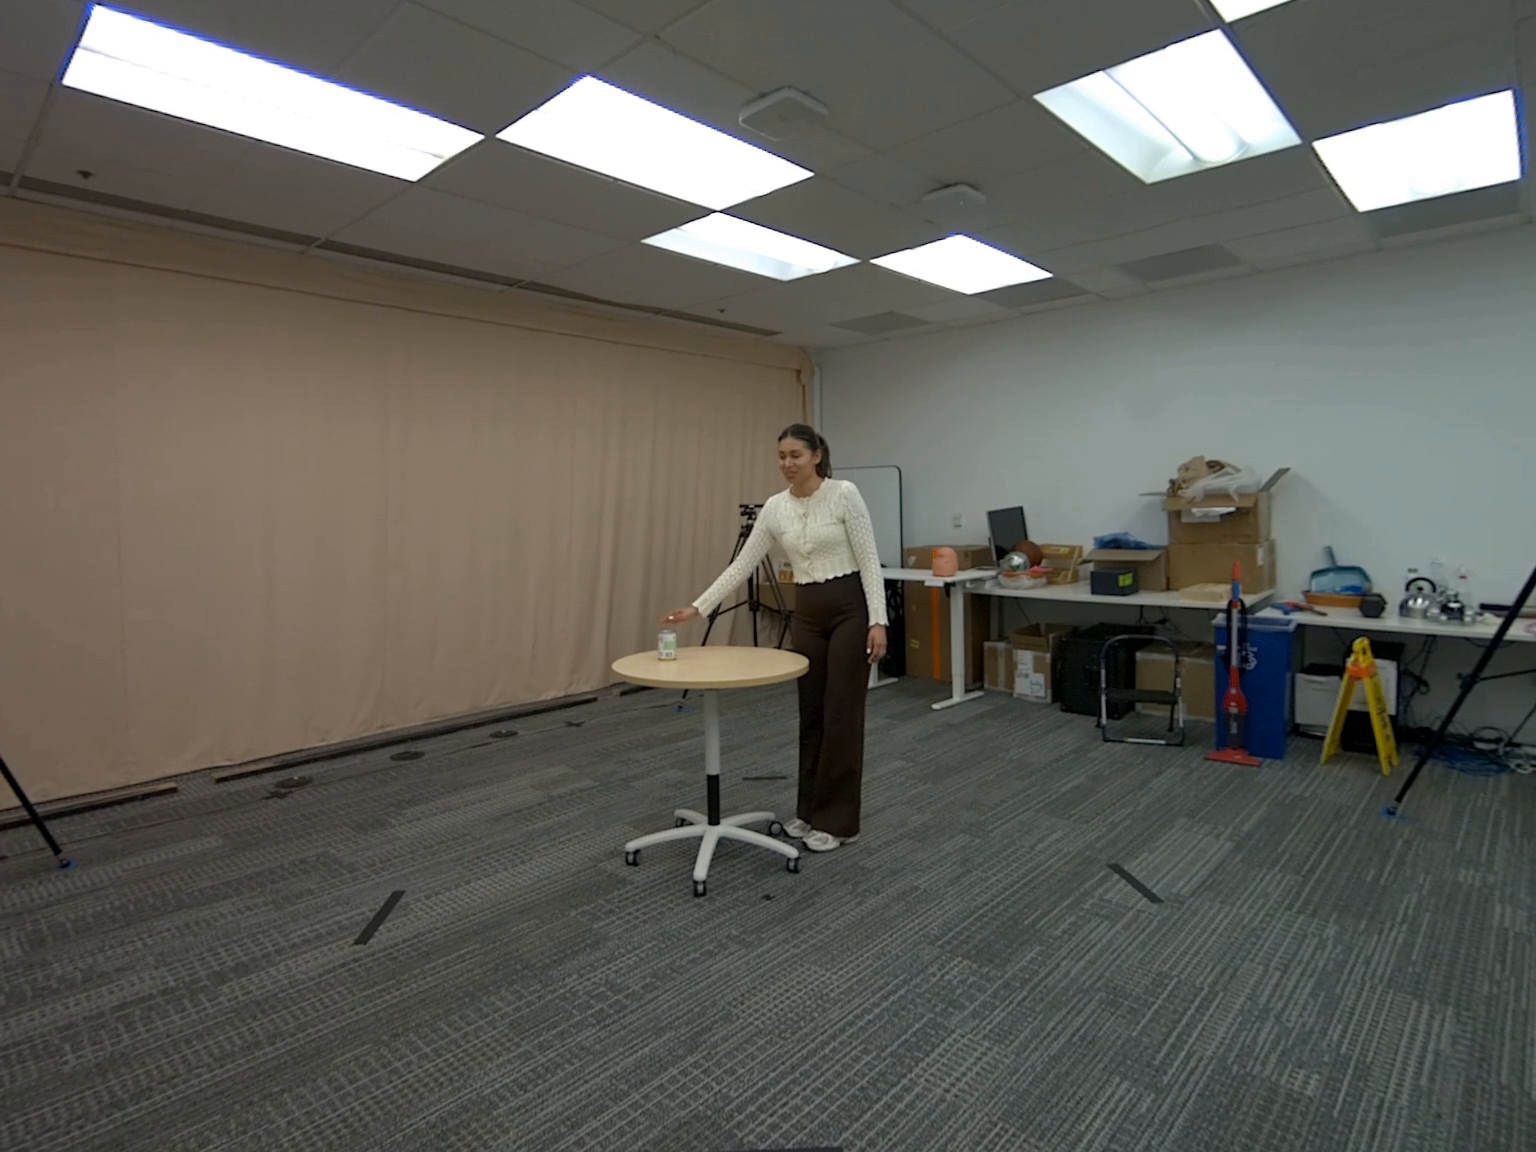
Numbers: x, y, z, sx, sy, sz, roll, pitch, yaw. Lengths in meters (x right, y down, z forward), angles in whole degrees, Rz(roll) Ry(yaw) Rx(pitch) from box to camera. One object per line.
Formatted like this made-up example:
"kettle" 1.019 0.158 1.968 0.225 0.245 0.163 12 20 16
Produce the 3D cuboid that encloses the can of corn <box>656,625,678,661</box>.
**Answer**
"can of corn" -0.400 0.282 3.363 0.074 0.111 0.074 -2 0 -2
